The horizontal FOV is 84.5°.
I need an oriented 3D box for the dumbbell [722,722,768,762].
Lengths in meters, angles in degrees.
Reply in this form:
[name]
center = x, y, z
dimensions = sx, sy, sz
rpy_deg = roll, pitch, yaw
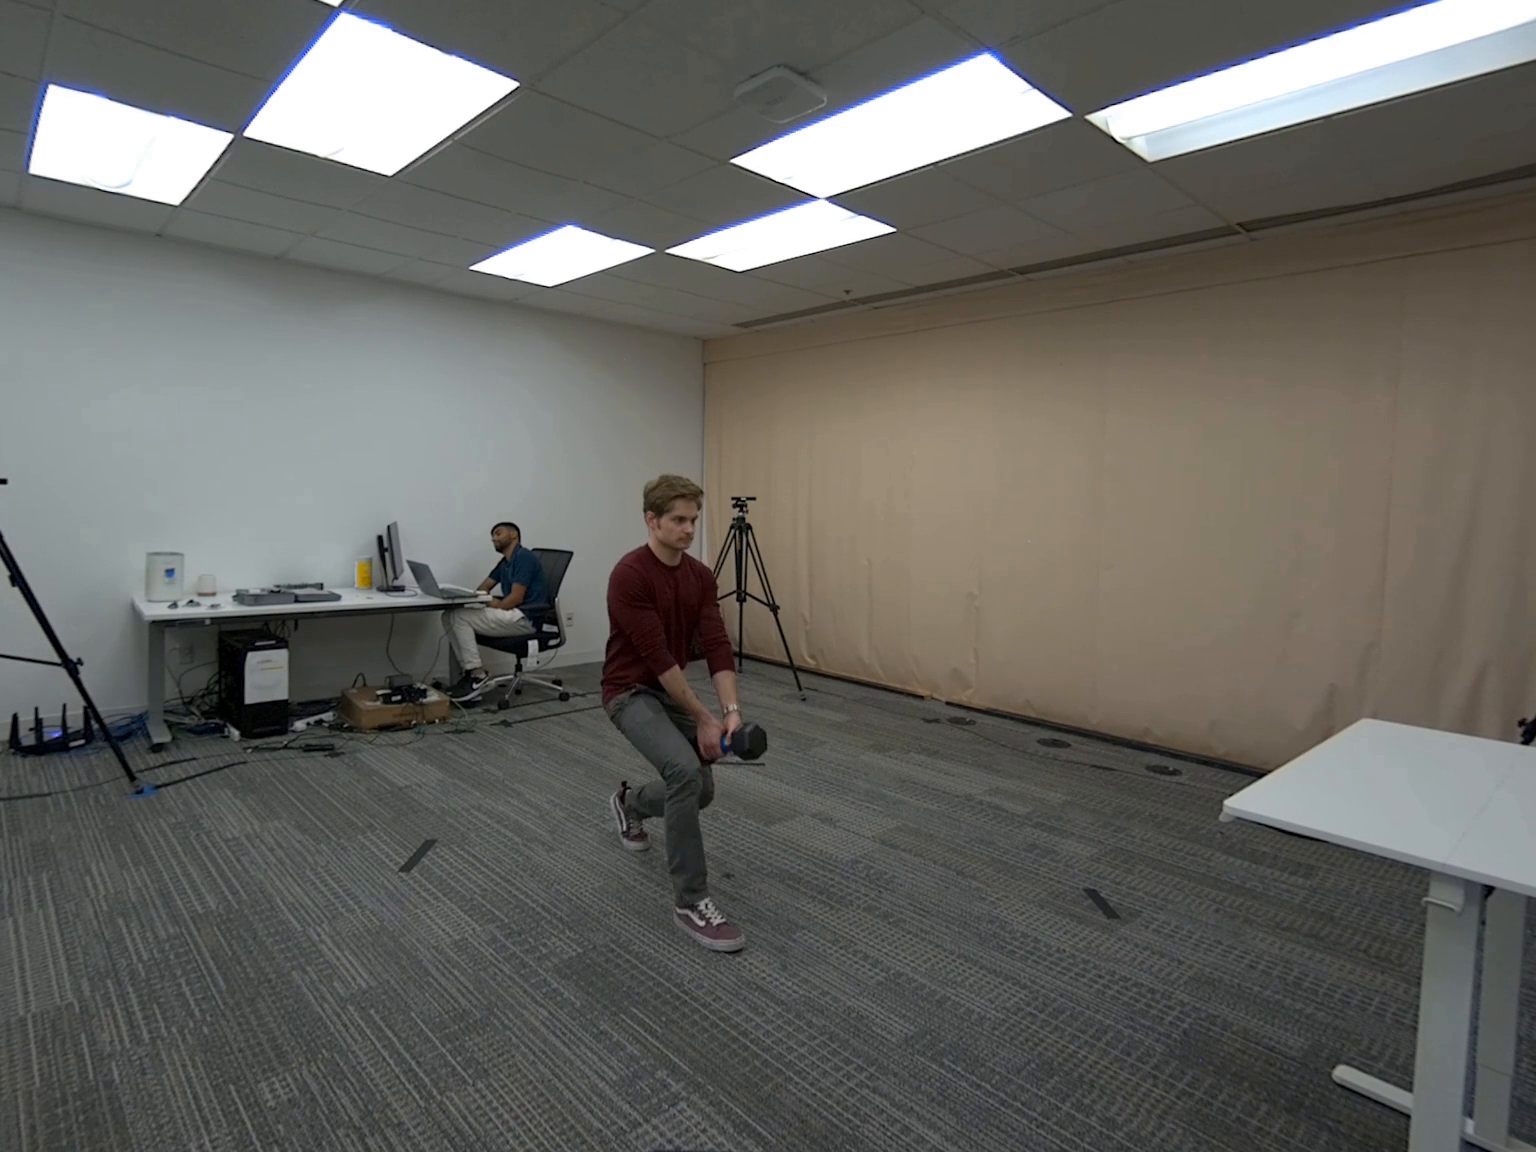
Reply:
[dumbbell]
center = -0.162, 0.570, 2.833
dimensions = 0.298, 0.110, 0.120
rpy_deg = -17, -49, 42
